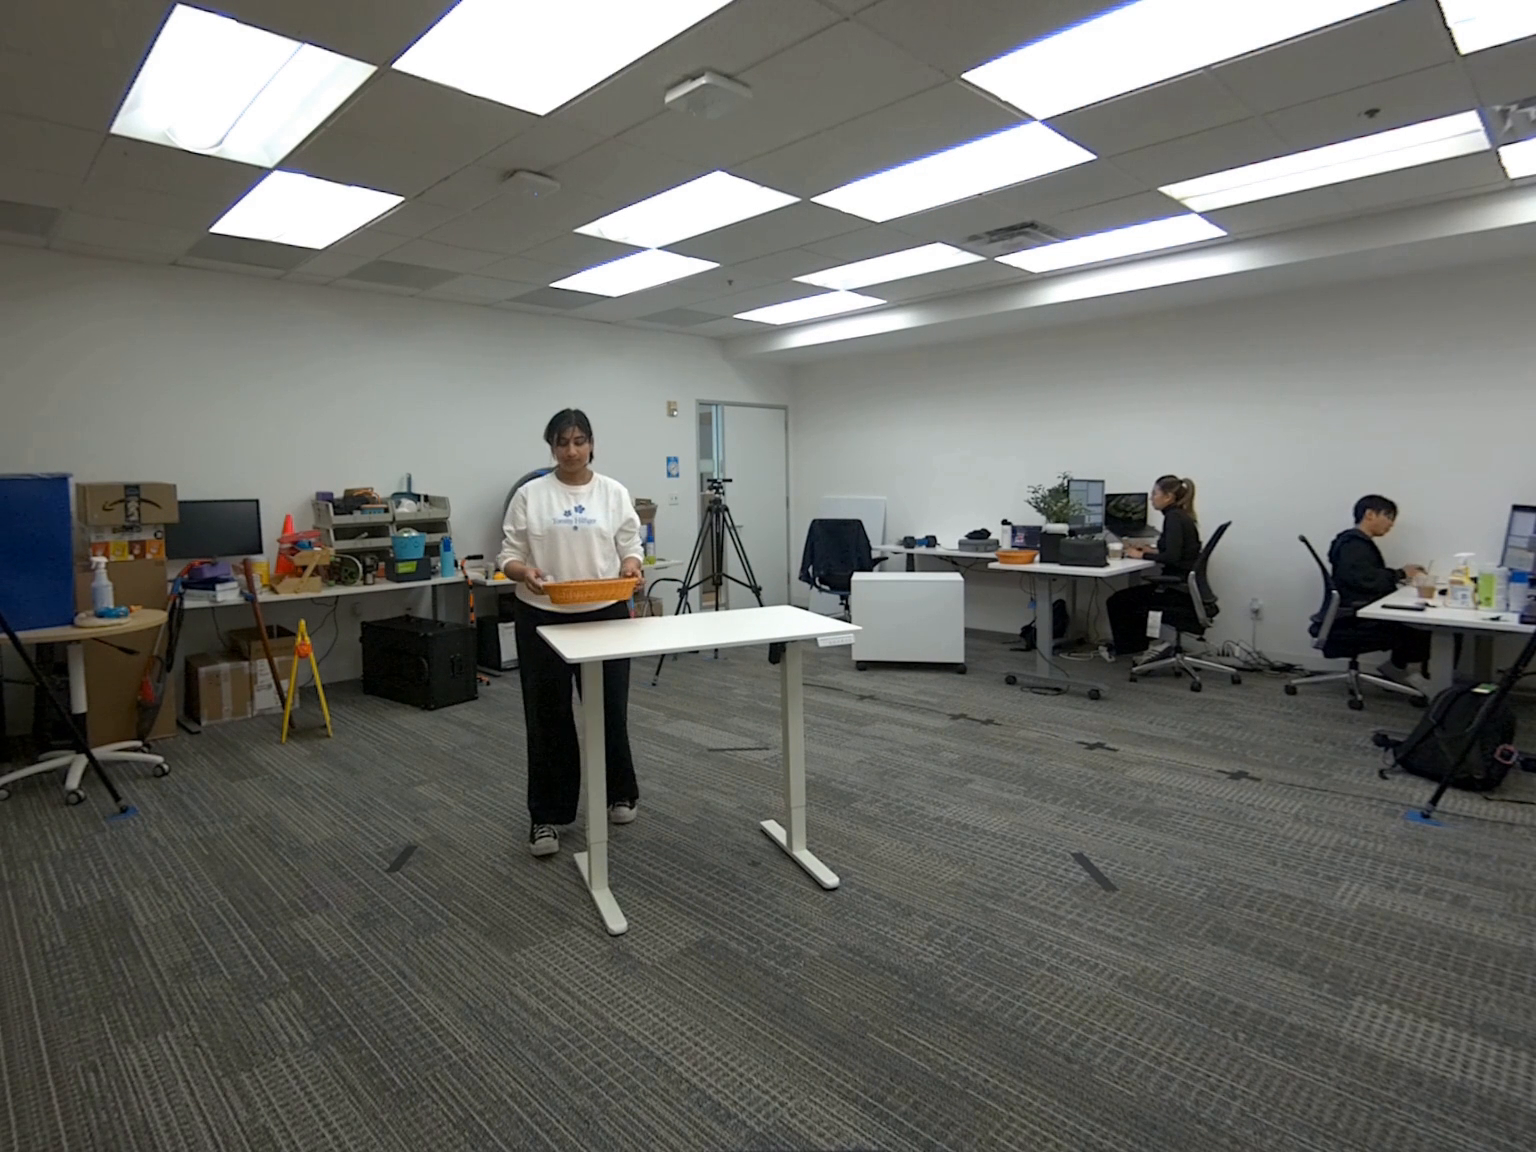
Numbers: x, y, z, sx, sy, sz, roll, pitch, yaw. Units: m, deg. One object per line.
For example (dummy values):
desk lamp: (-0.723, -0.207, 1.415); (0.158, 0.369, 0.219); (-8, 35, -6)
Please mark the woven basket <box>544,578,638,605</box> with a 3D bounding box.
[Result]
woven basket: (-0.657, 0.054, 3.139); (0.346, 0.073, 0.256); (-5, 2, -15)
